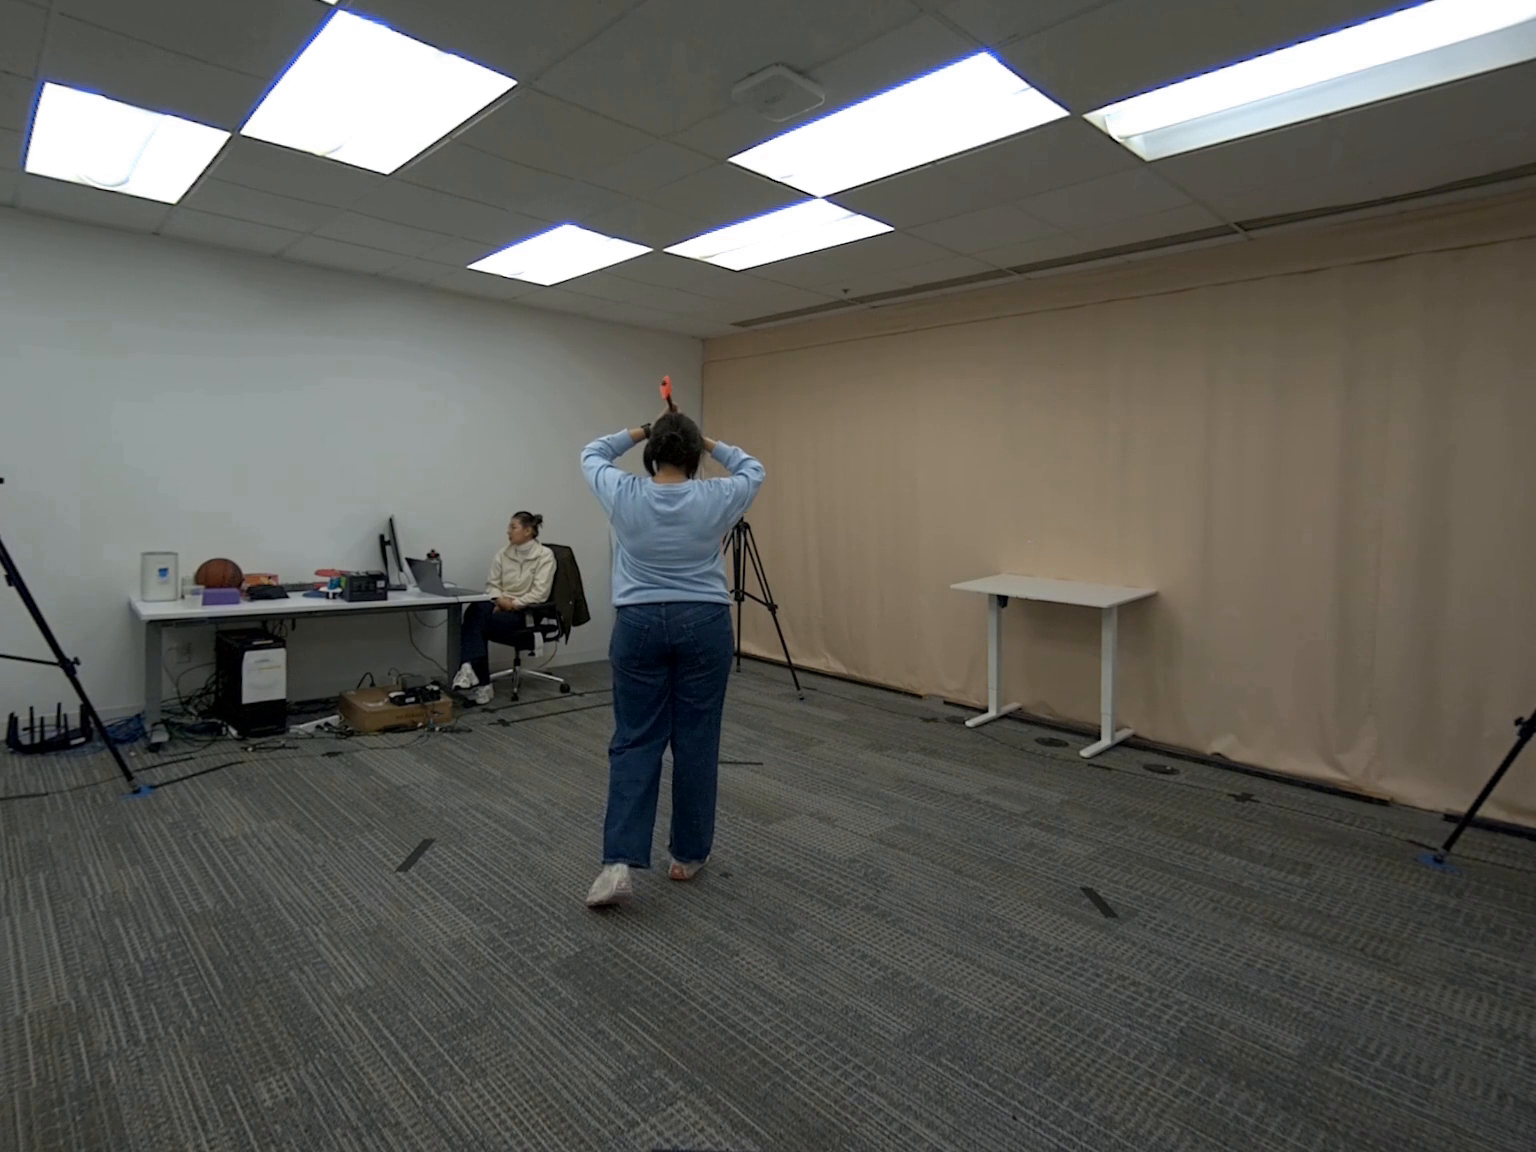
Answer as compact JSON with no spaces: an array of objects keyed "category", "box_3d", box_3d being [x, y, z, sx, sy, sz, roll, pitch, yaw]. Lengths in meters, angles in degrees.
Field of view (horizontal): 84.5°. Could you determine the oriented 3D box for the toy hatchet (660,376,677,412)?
[{"category":"toy hatchet","box_3d":[-0.356,-0.636,3.101,0.030,0.133,0.263,-10,-25,6]}]
